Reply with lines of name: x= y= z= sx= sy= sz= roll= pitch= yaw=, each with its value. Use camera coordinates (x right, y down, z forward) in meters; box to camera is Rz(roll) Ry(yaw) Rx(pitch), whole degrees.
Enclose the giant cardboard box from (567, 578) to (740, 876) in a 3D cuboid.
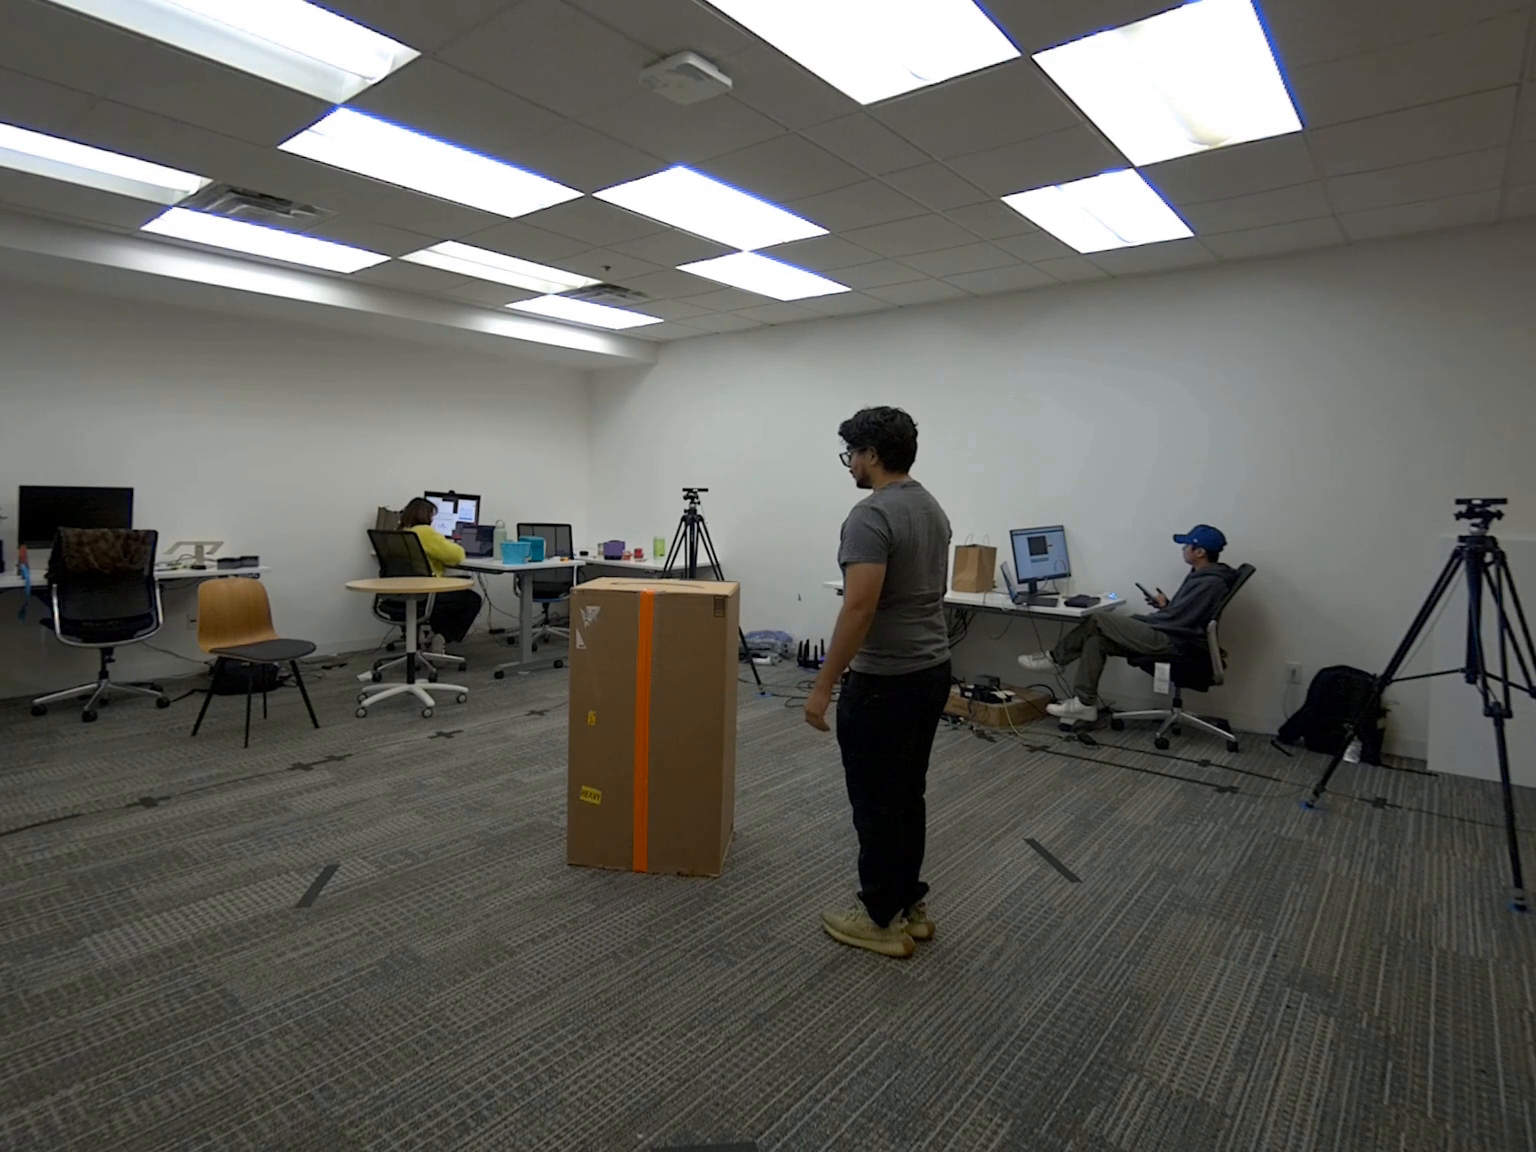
giant cardboard box: x=-0.436 y=0.540 z=3.260 sx=0.583 sy=1.023 sz=0.424 roll=2 pitch=3 yaw=7
